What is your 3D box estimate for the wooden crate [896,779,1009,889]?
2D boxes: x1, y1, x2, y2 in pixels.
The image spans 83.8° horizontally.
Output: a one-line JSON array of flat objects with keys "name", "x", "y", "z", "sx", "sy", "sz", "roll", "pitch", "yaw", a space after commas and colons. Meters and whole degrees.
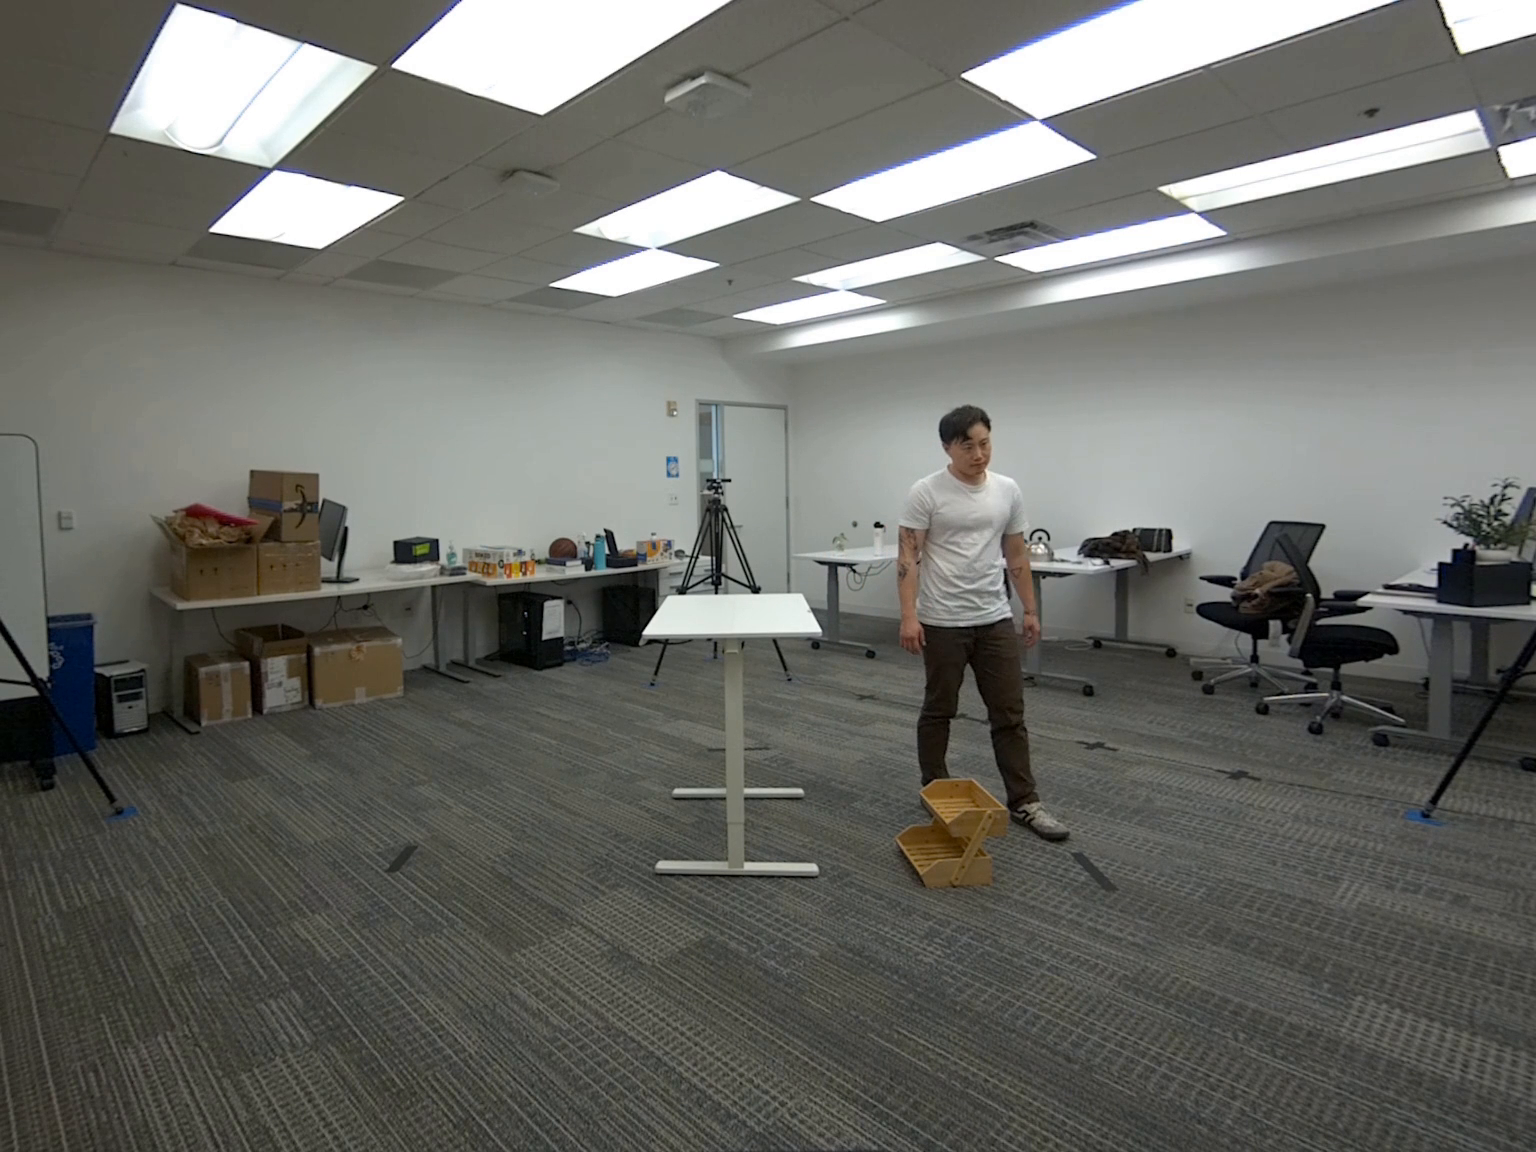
[{"name": "wooden crate", "x": 0.643, "y": 0.901, "z": 3.053, "sx": 0.300, "sy": 0.272, "sz": 0.328, "roll": -1, "pitch": 5, "yaw": -8}]
